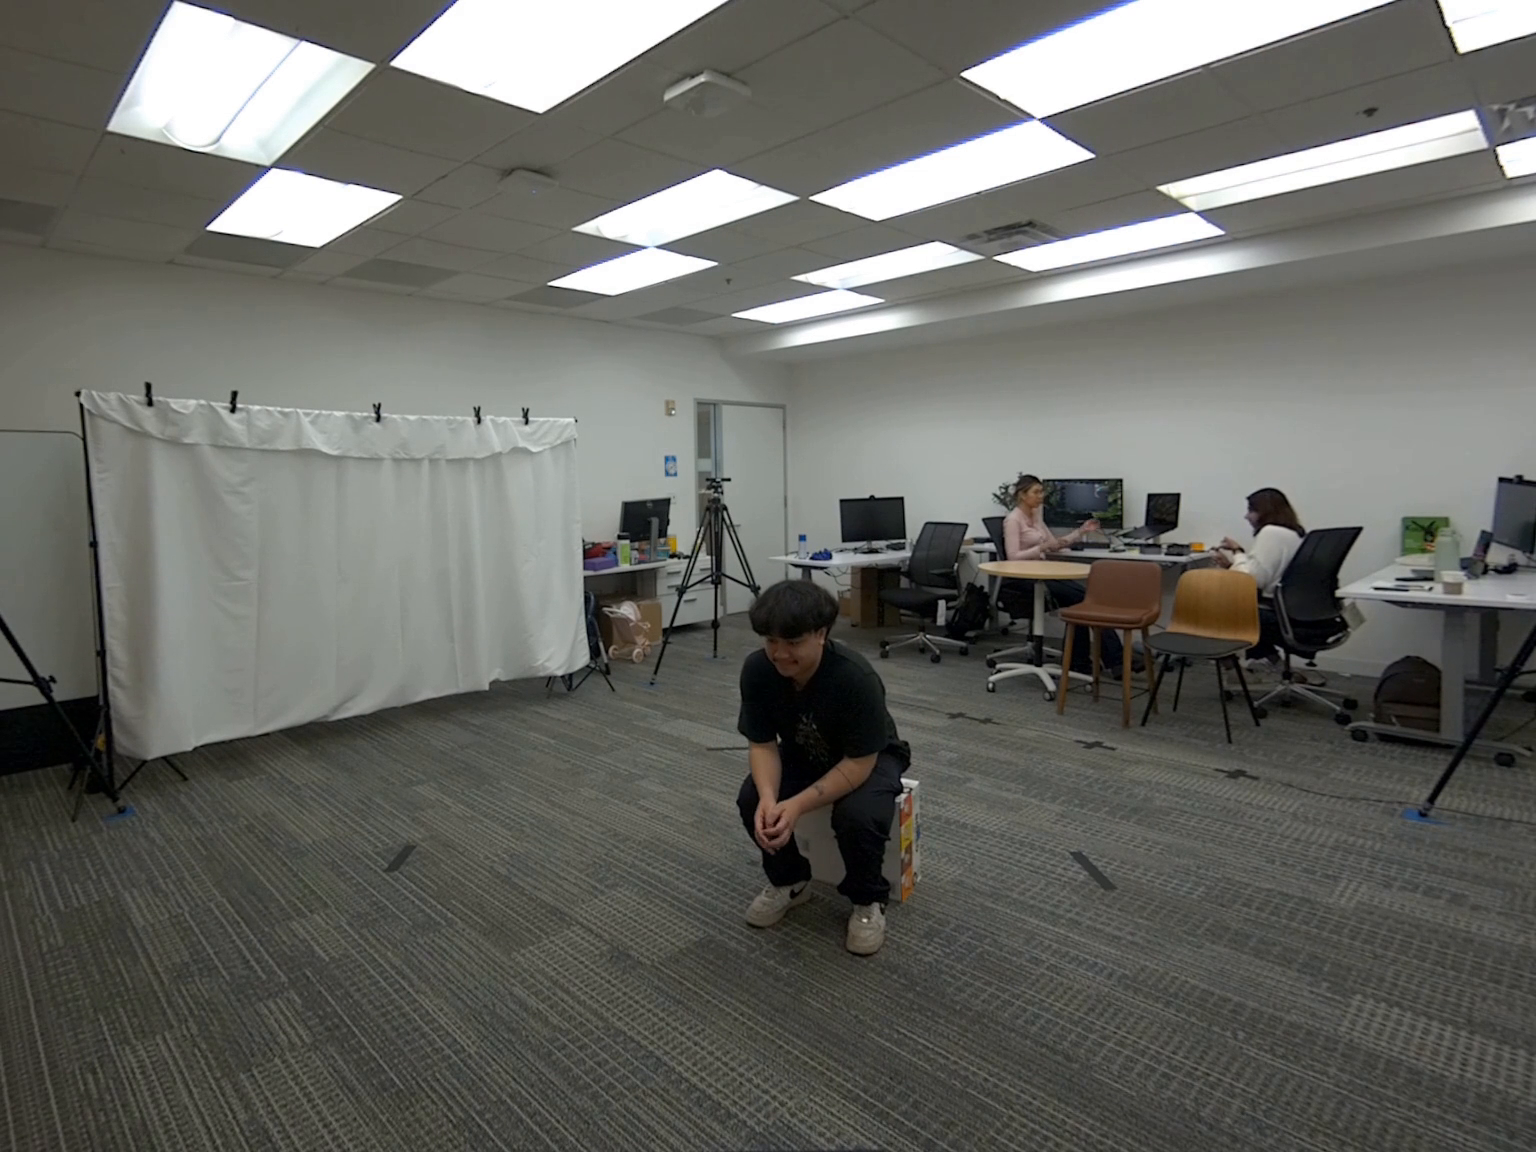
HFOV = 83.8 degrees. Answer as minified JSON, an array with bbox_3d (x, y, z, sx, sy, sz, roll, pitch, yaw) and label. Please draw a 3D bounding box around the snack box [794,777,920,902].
[{"bbox_3d":[0.309,0.883,2.978,0.416,0.339,0.201,2,4,30],"label":"snack box"}]
